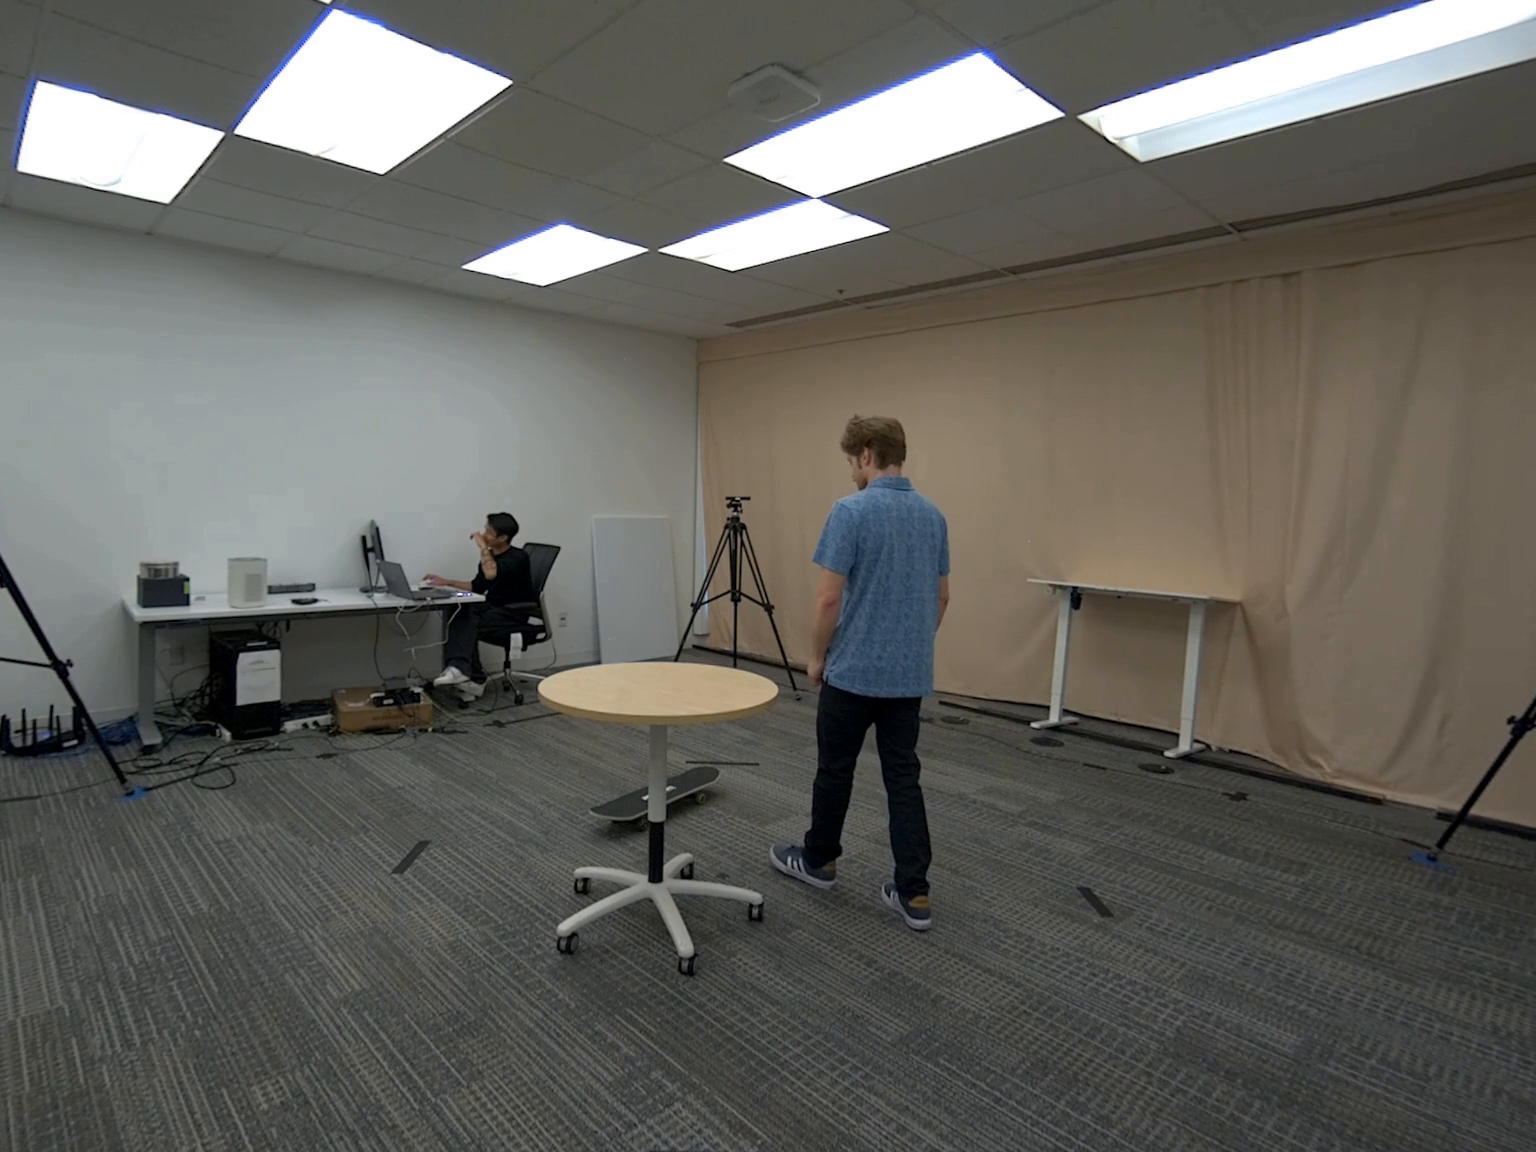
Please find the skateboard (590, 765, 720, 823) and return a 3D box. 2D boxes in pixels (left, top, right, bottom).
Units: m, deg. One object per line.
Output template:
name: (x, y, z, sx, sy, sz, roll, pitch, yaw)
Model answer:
skateboard: (-0.489, 0.984, 3.710, 0.198, 0.110, 0.769, 4, 5, 32)
